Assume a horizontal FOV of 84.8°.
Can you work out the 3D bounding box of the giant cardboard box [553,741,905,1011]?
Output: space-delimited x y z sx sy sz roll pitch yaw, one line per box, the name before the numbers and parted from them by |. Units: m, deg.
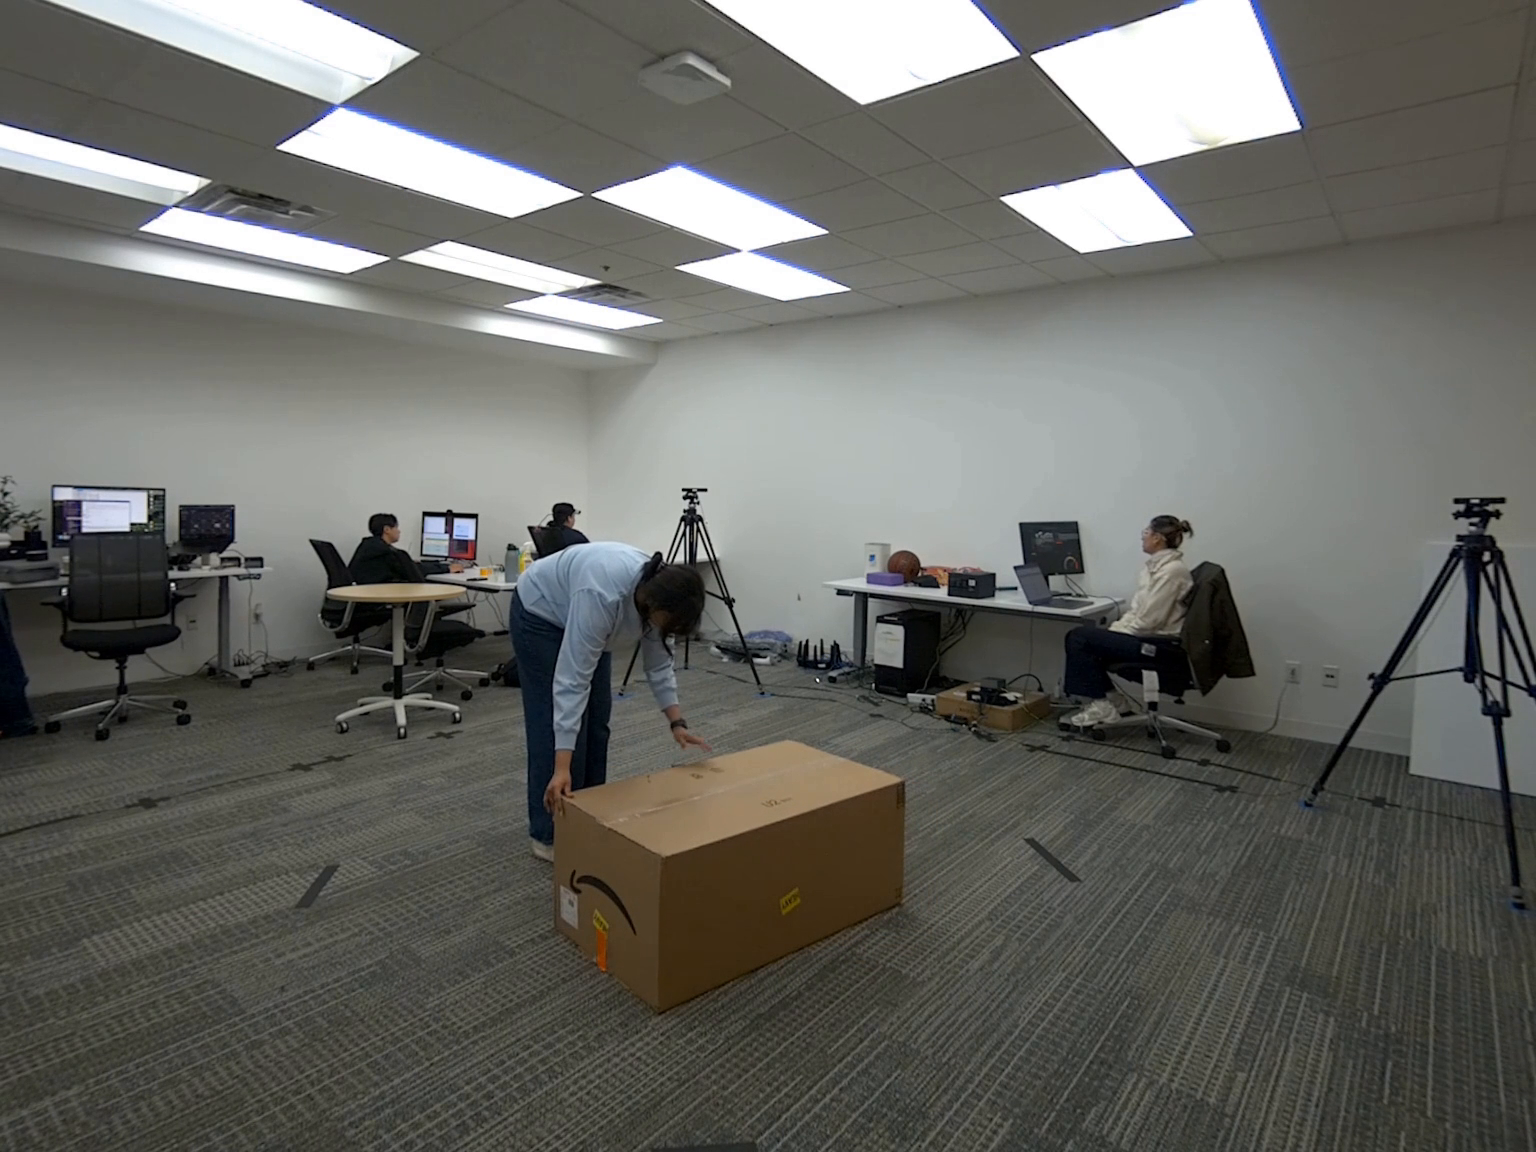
giant cardboard box | -0.111 0.895 2.767 0.995 0.424 0.597 -4 7 -41
